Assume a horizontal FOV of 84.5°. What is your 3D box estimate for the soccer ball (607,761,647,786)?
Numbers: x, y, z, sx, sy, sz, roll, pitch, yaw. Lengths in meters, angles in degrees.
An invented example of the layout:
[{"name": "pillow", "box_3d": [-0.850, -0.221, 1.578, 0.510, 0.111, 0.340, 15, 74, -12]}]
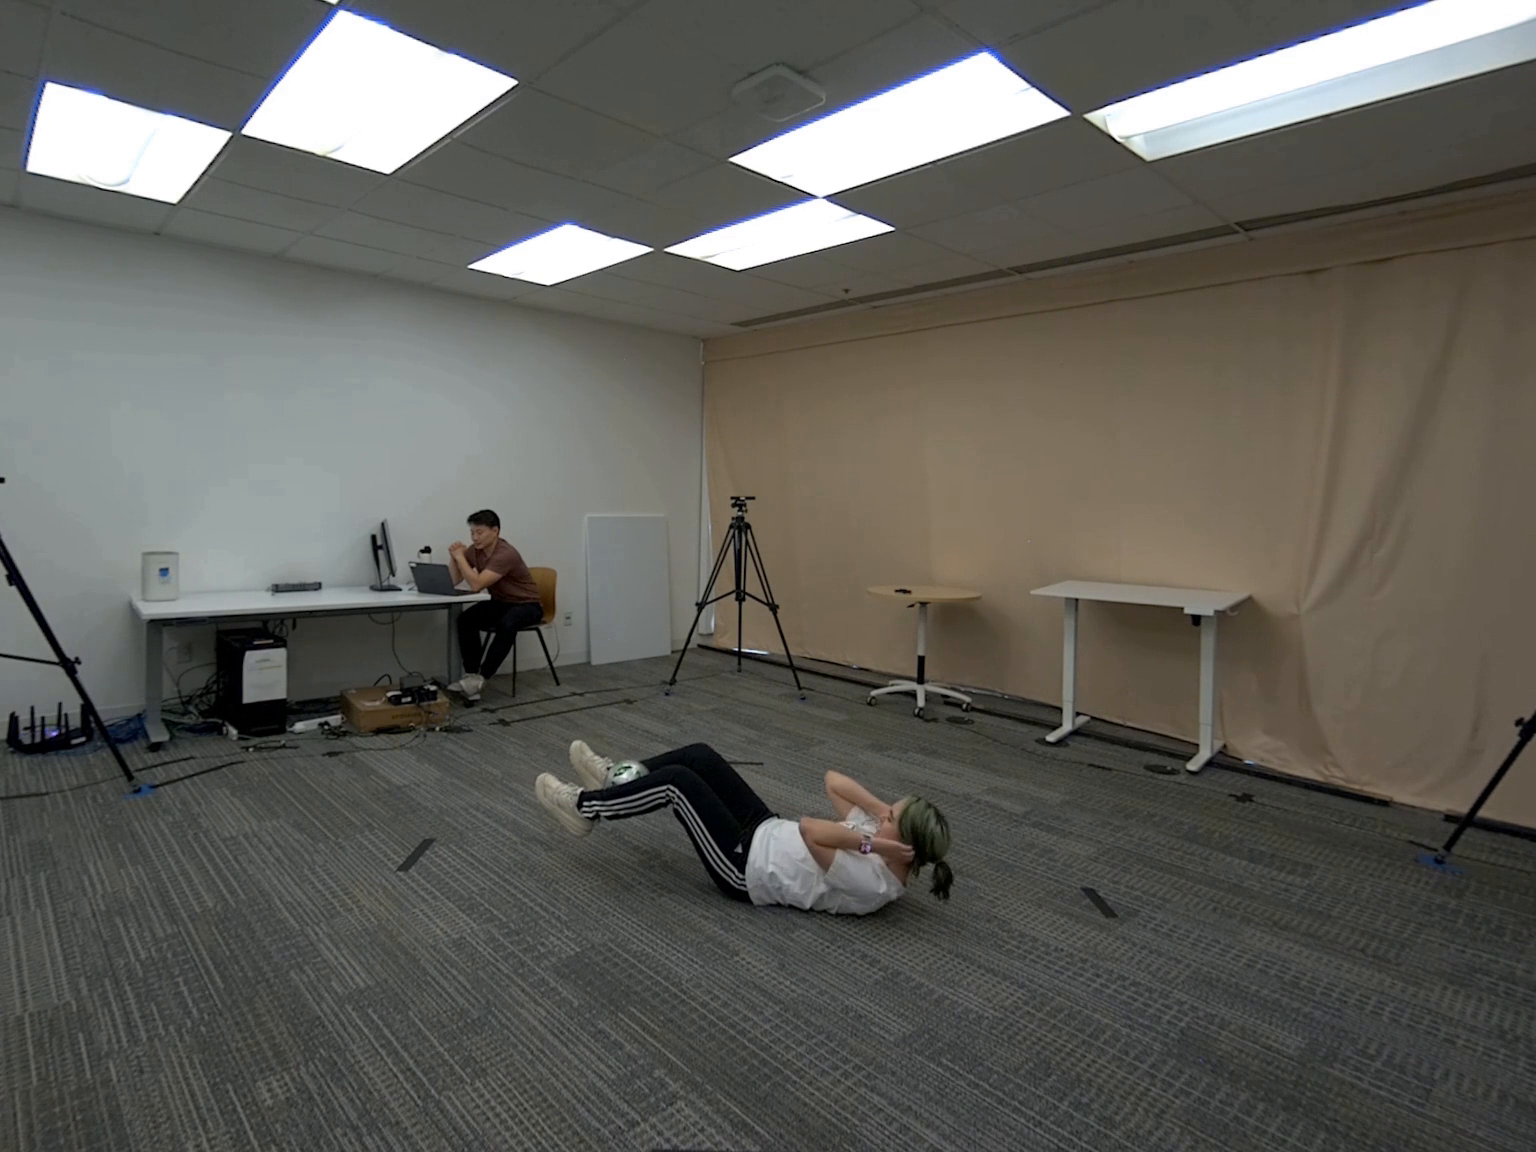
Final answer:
[{"name": "soccer ball", "box_3d": [-0.520, 0.789, 3.147, 0.187, 0.187, 0.188, 1, 4, -1]}]
